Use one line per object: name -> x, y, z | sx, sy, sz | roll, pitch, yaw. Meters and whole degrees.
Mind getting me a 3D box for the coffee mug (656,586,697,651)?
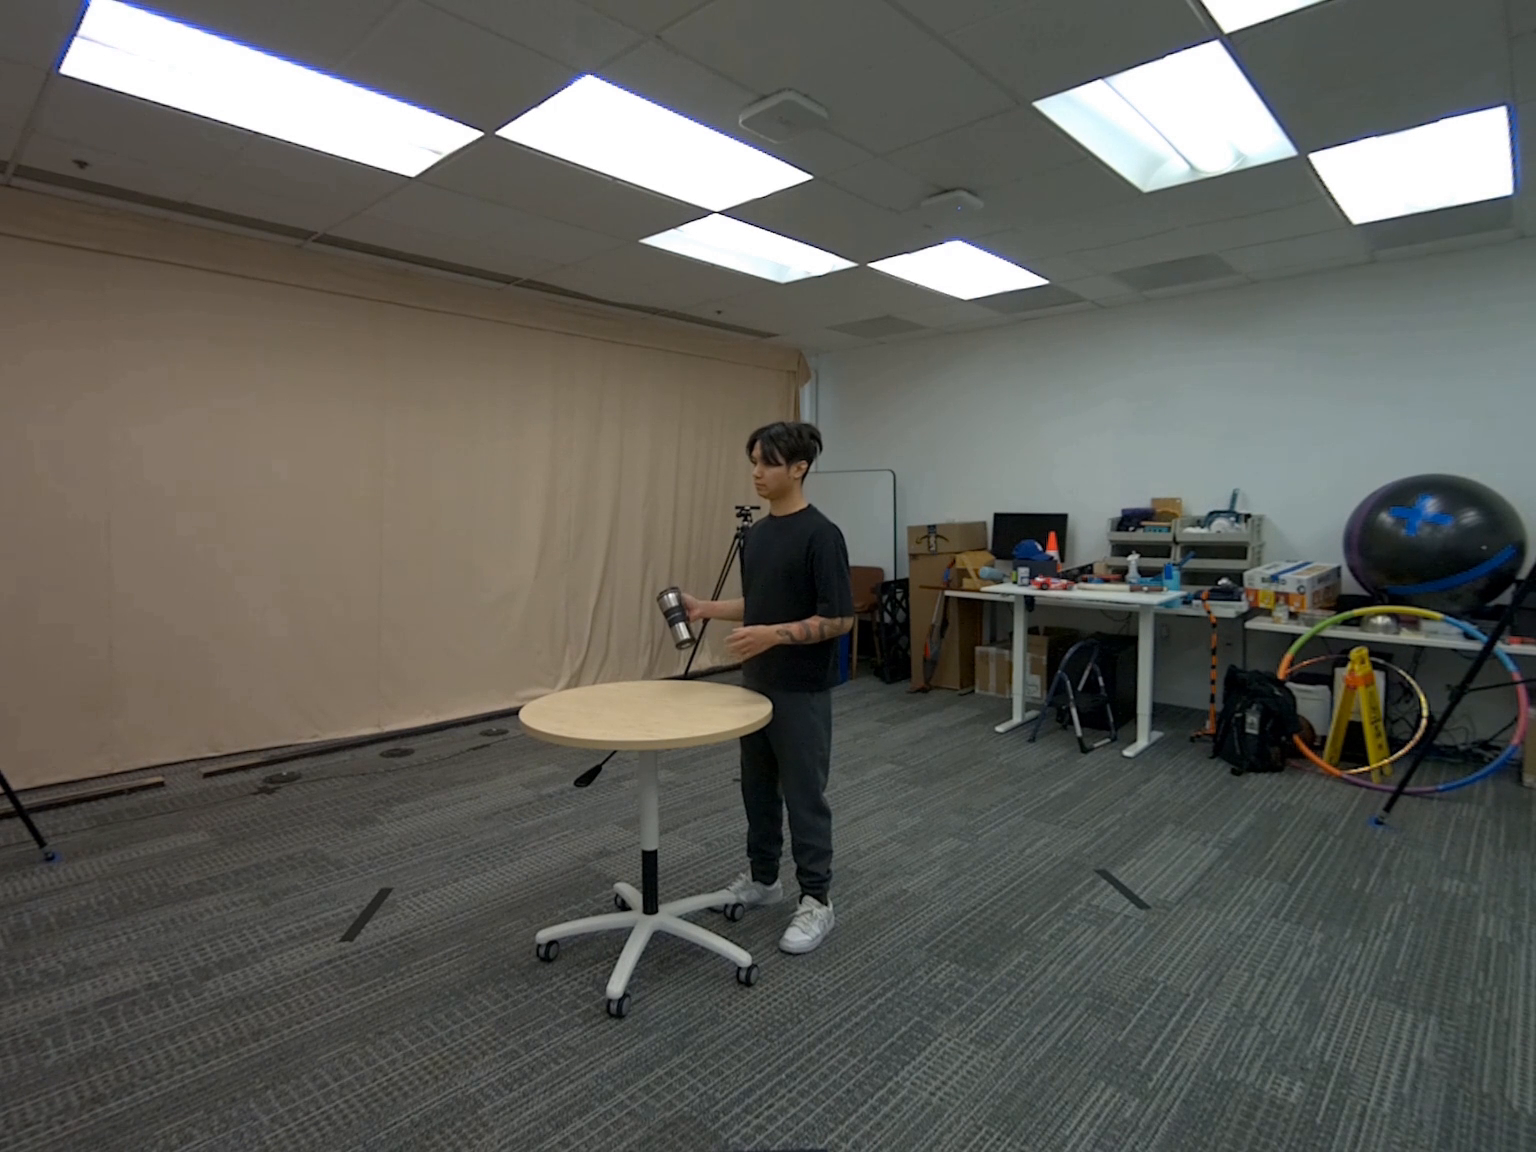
coffee mug -> -0.284, 0.145, 2.848 | 0.089, 0.207, 0.118 | -38, -21, 30
